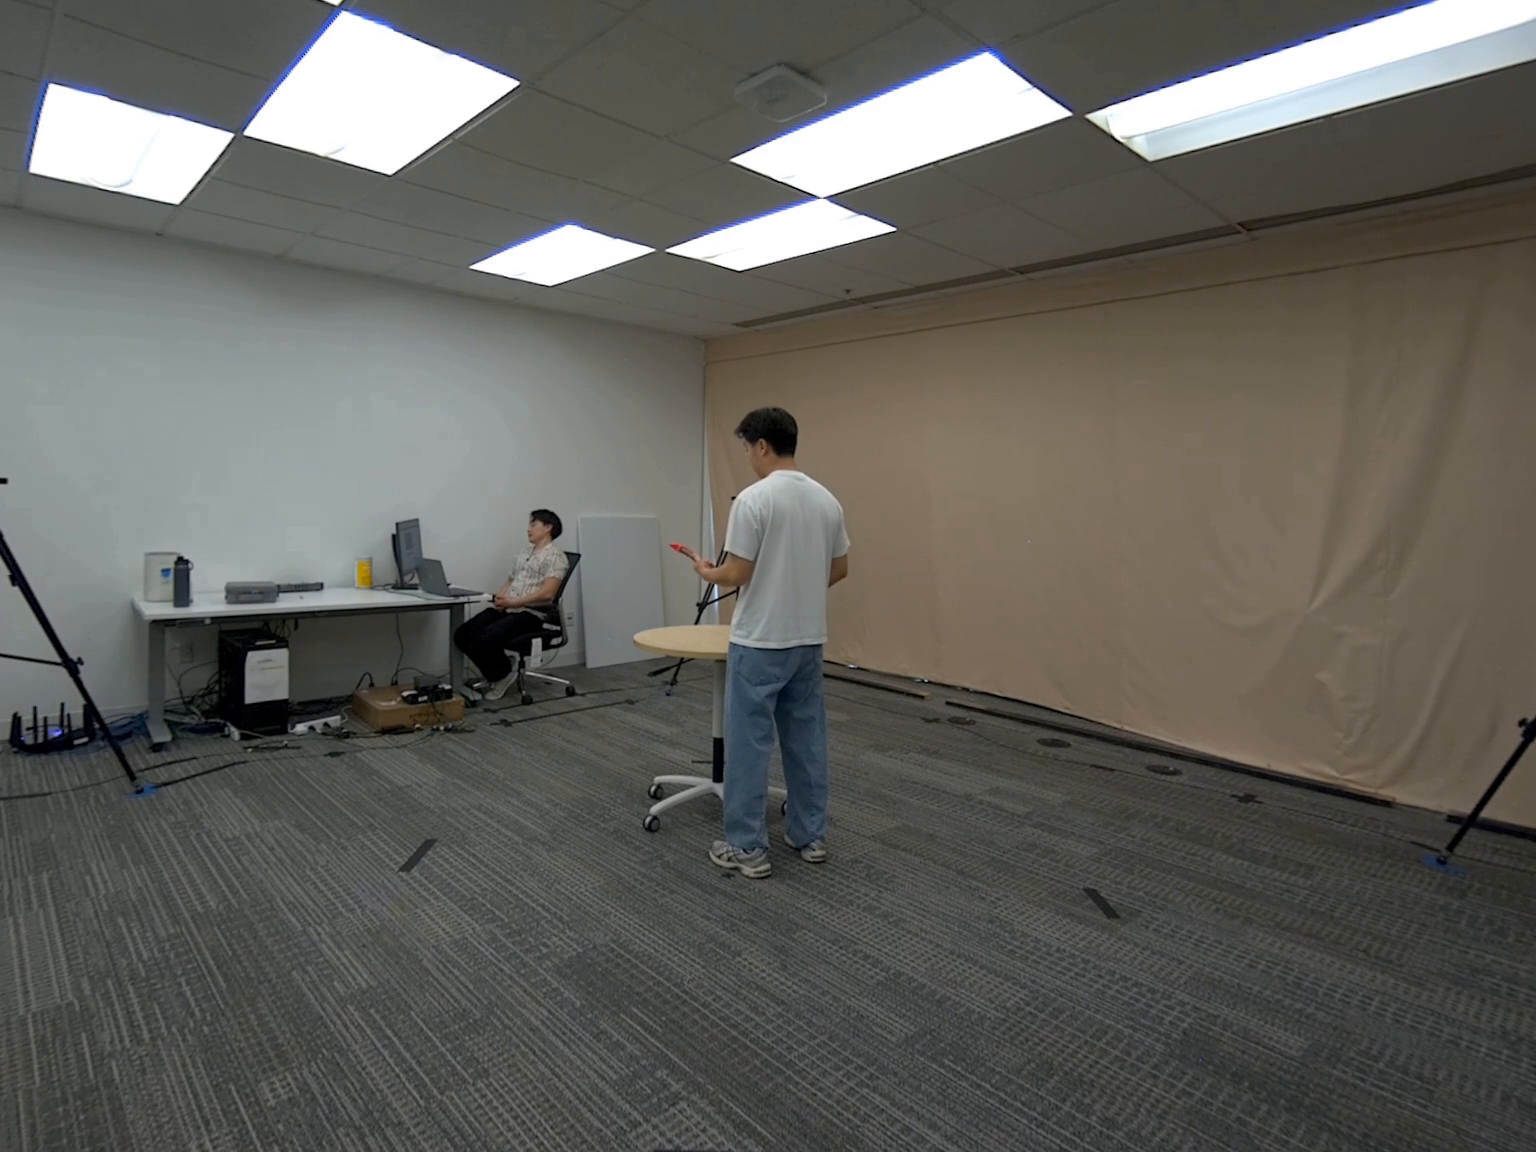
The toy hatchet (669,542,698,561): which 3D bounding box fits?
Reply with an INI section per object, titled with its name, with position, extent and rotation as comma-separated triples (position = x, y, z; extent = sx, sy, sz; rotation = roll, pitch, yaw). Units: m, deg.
[toy hatchet]
position = -0.282, -0.062, 3.426
extent = 0.276, 0.029, 0.128
rotation = 29, 1, 22
